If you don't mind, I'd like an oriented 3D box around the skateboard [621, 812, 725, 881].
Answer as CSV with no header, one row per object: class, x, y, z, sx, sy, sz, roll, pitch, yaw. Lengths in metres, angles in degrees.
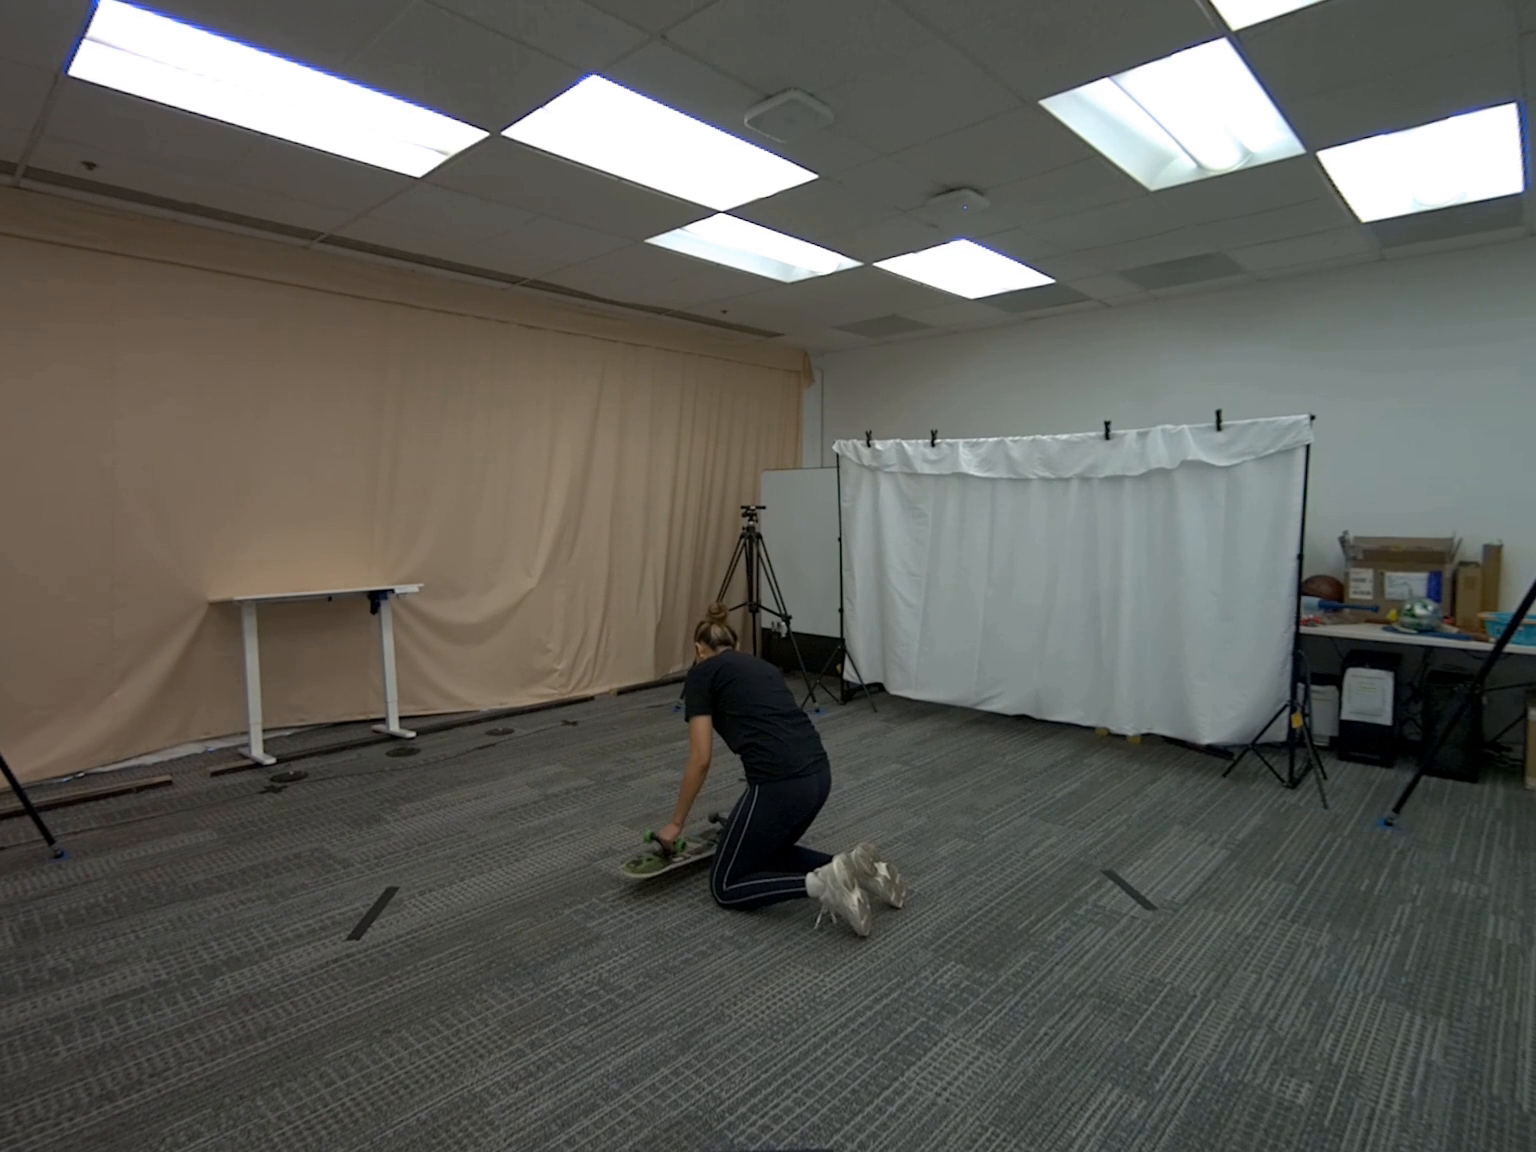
skateboard,-0.276,1.019,3.282,0.199,0.110,0.760,1,-2,36
